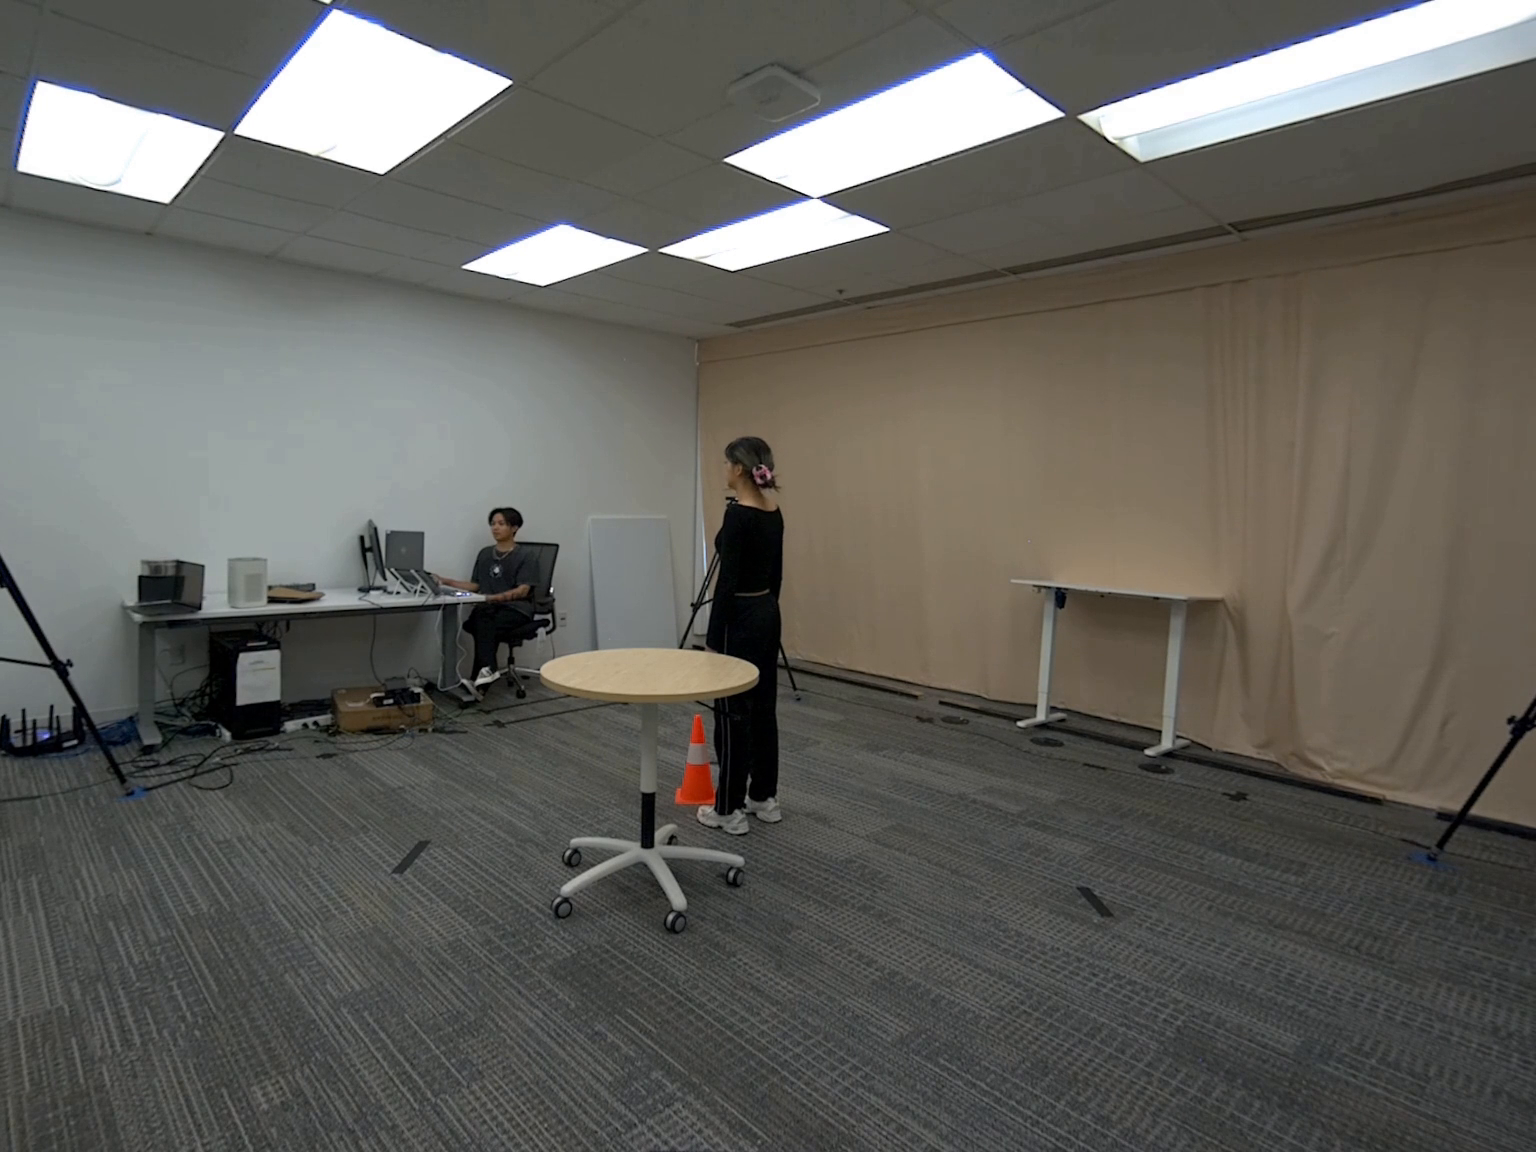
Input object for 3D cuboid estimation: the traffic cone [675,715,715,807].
[{"bbox_3d":[-0.347,0.846,3.926,0.204,0.382,0.205,1,5,1],"label":"traffic cone"}]
